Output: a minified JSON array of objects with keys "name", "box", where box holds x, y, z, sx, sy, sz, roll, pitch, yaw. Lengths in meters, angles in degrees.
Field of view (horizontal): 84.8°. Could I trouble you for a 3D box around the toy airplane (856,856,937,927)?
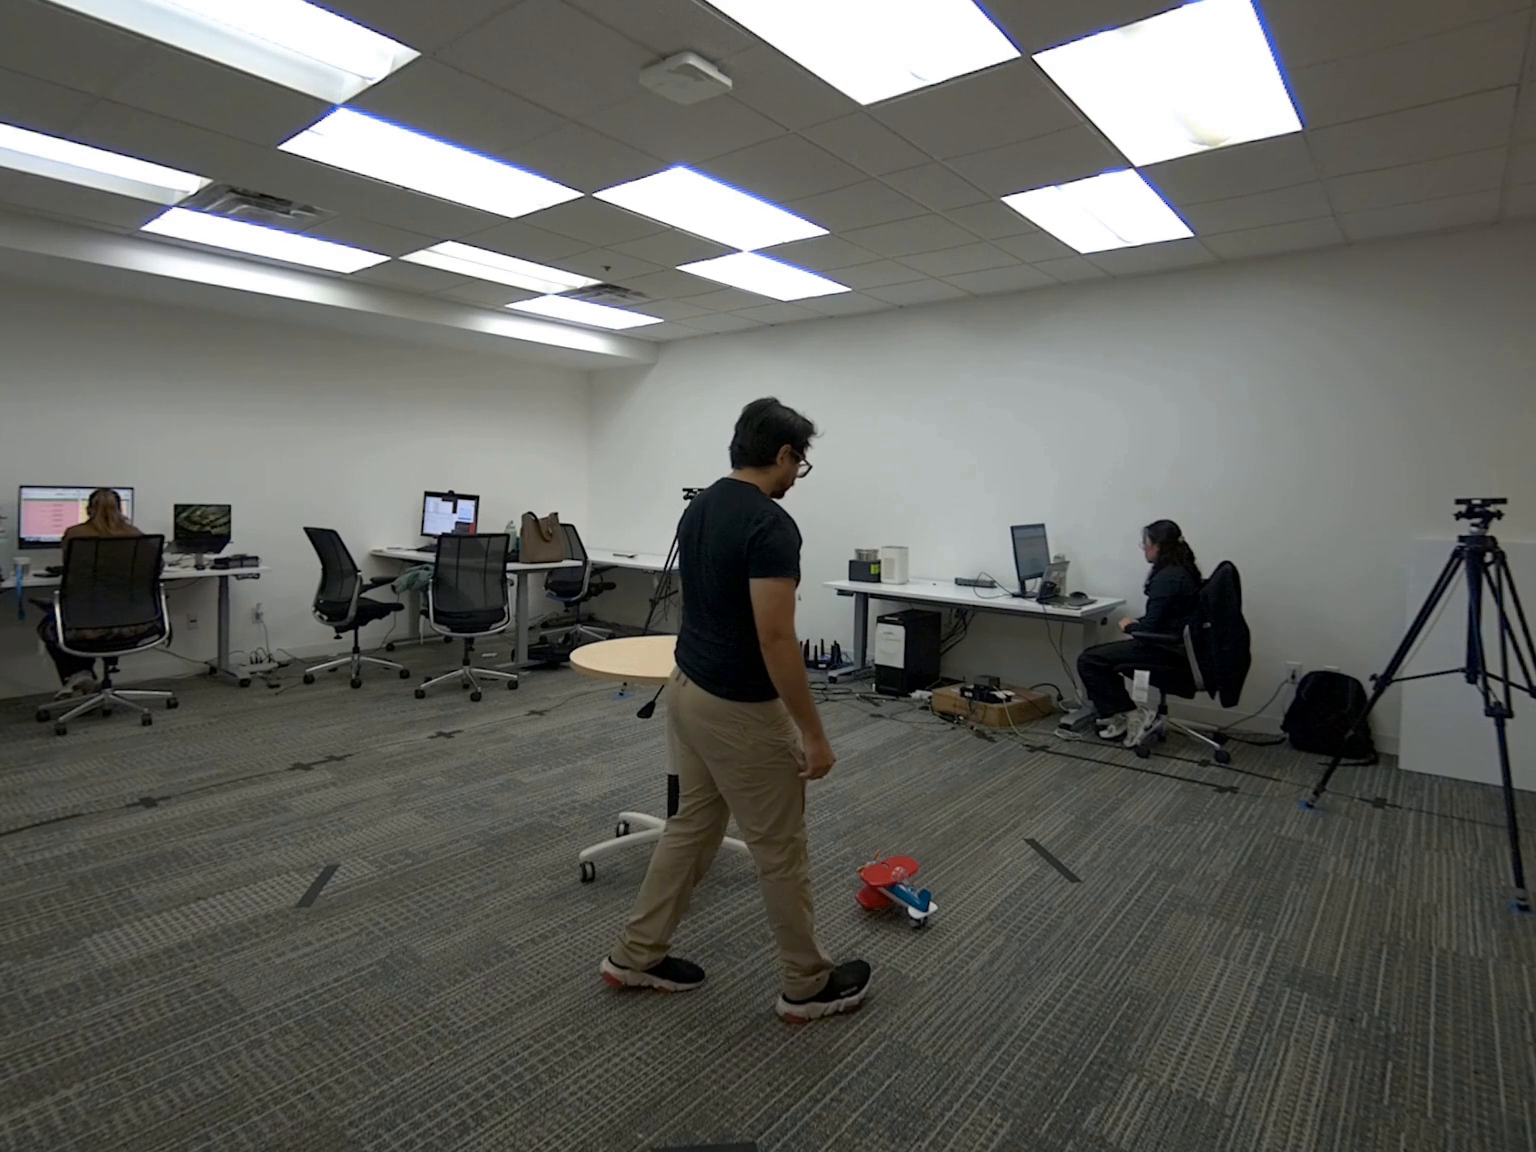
[{"name":"toy airplane","box":[0.432,1.036,2.821,0.265,0.156,0.246,1,4,20]}]
